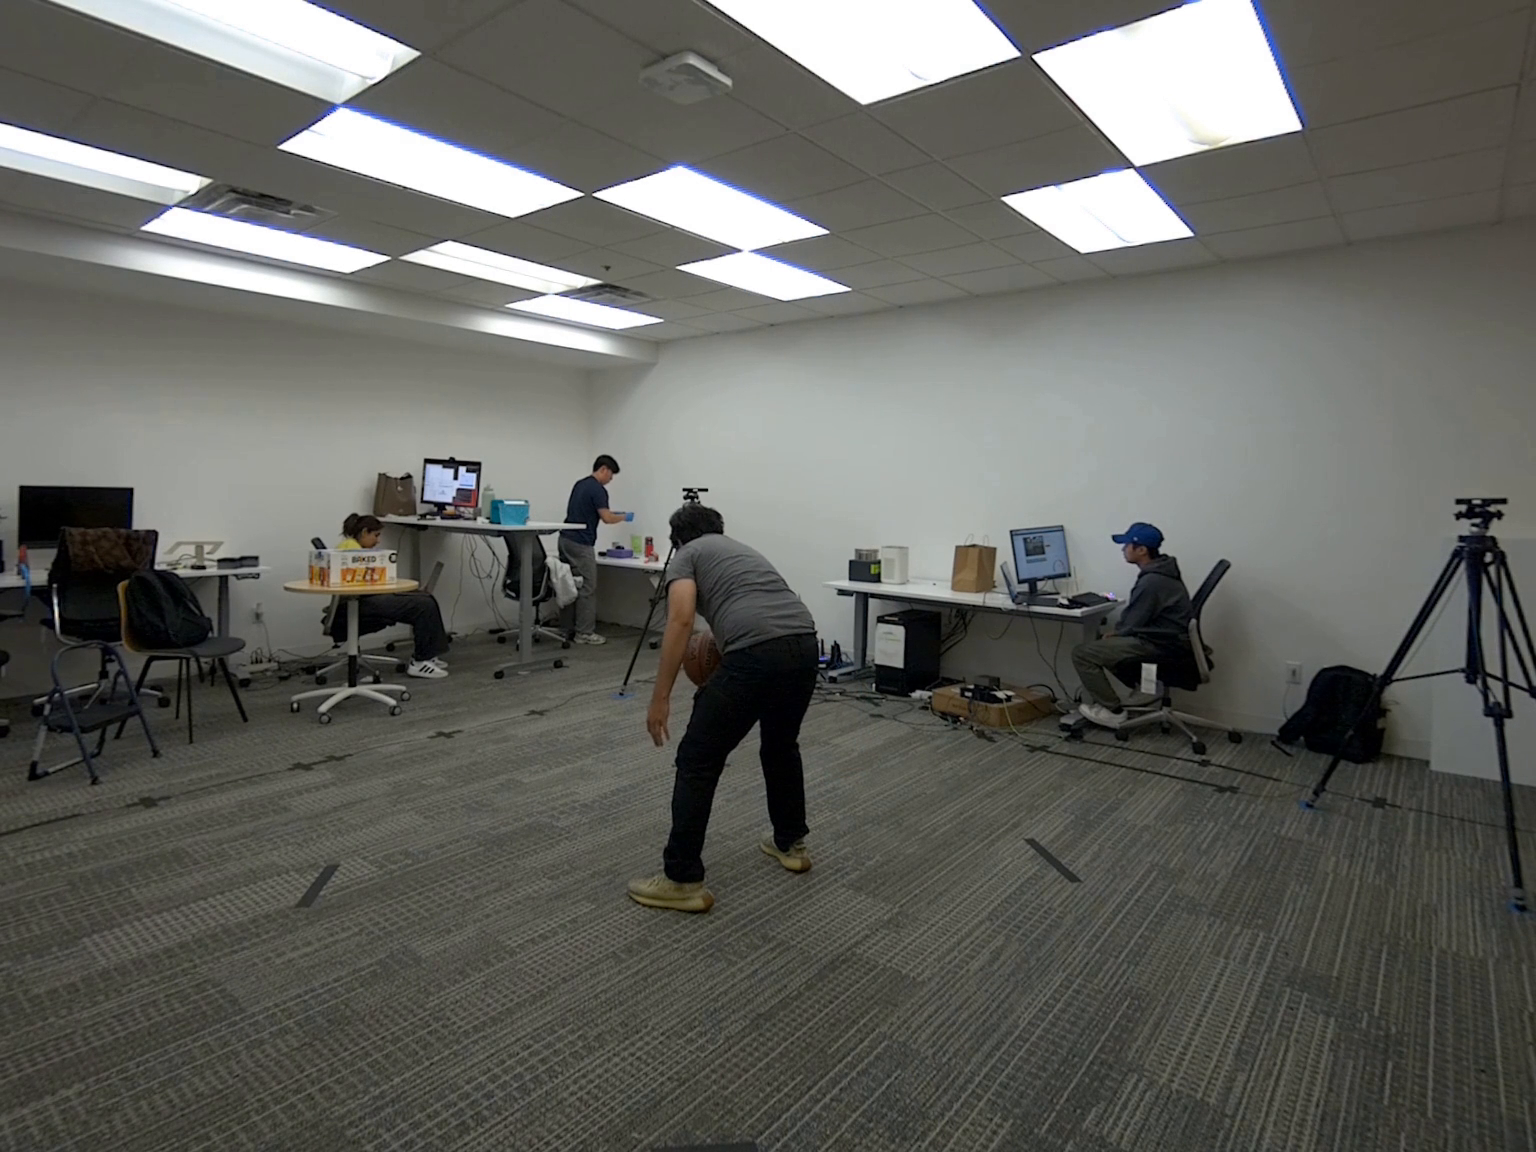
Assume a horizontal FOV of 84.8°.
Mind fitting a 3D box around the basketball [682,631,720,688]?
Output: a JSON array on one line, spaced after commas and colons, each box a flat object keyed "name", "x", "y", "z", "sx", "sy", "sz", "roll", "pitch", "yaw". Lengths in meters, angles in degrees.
[{"name": "basketball", "x": -0.224, "y": 0.335, "z": 3.401, "sx": 0.235, "sy": 0.235, "sz": 0.237, "roll": 1, "pitch": 4, "yaw": -2}]
